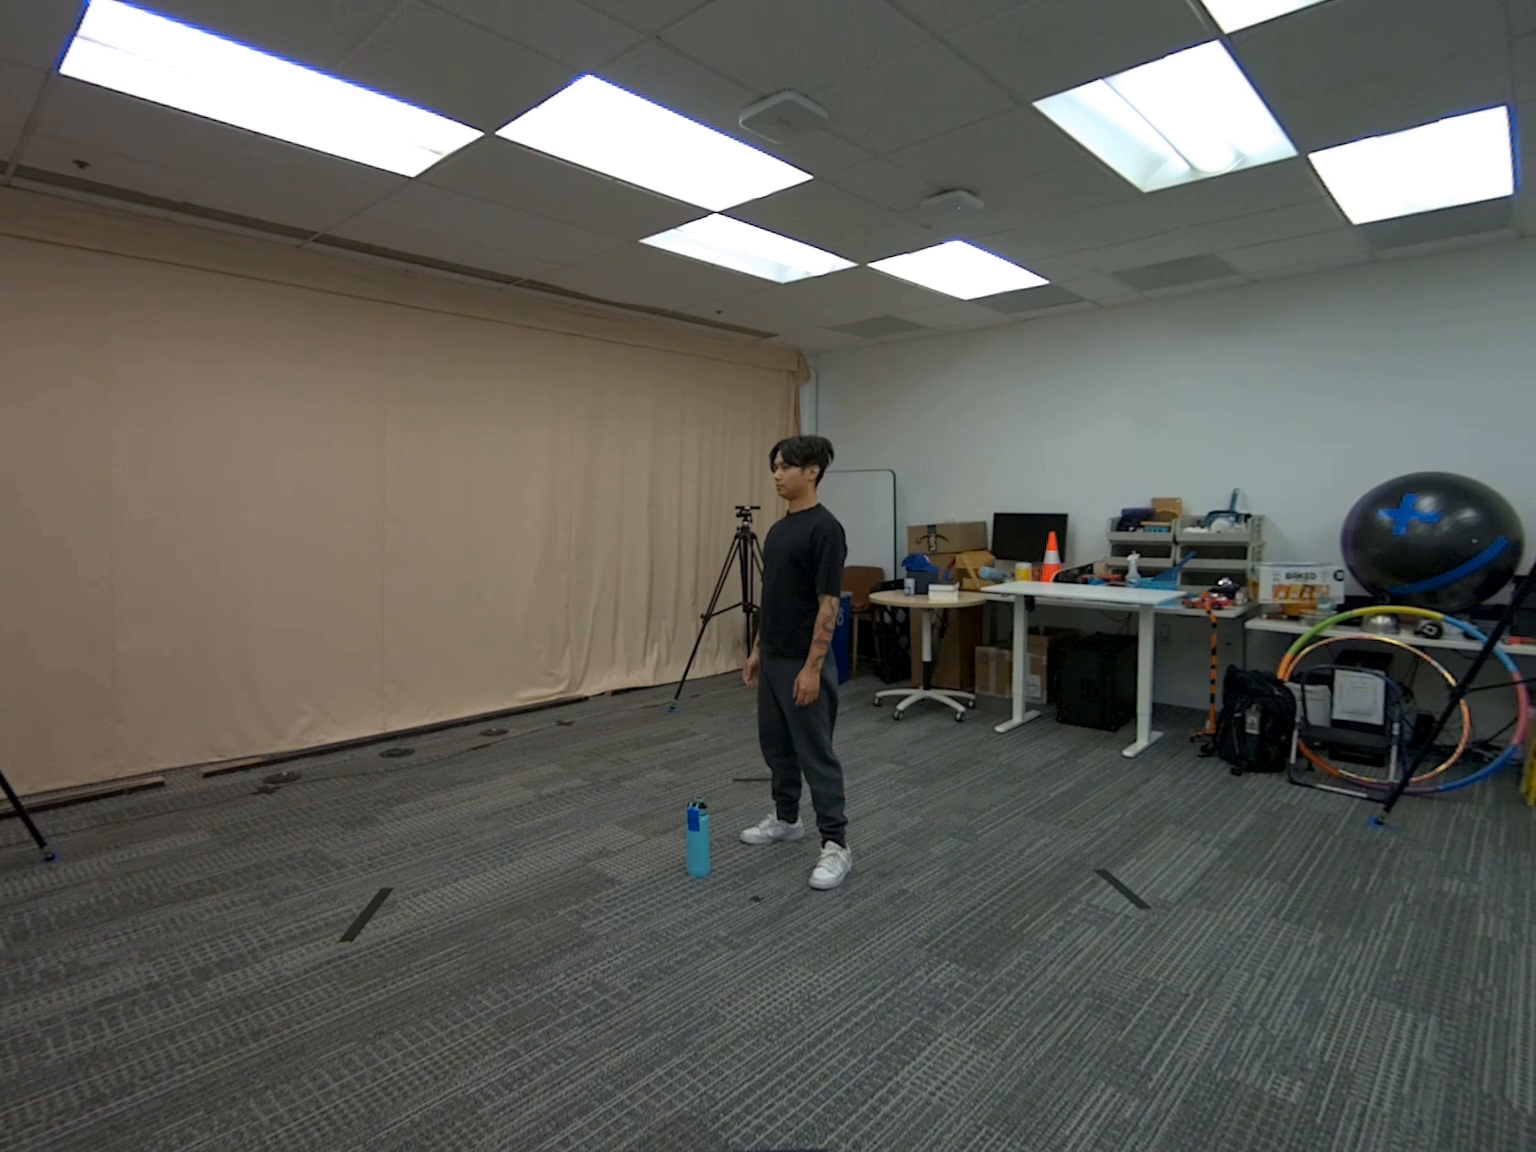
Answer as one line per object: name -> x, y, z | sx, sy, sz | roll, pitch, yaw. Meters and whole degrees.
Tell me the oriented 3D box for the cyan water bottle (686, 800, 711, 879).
cyan water bottle -> -0.261, 0.995, 3.202 | 0.092, 0.283, 0.092 | 0, 3, -2
